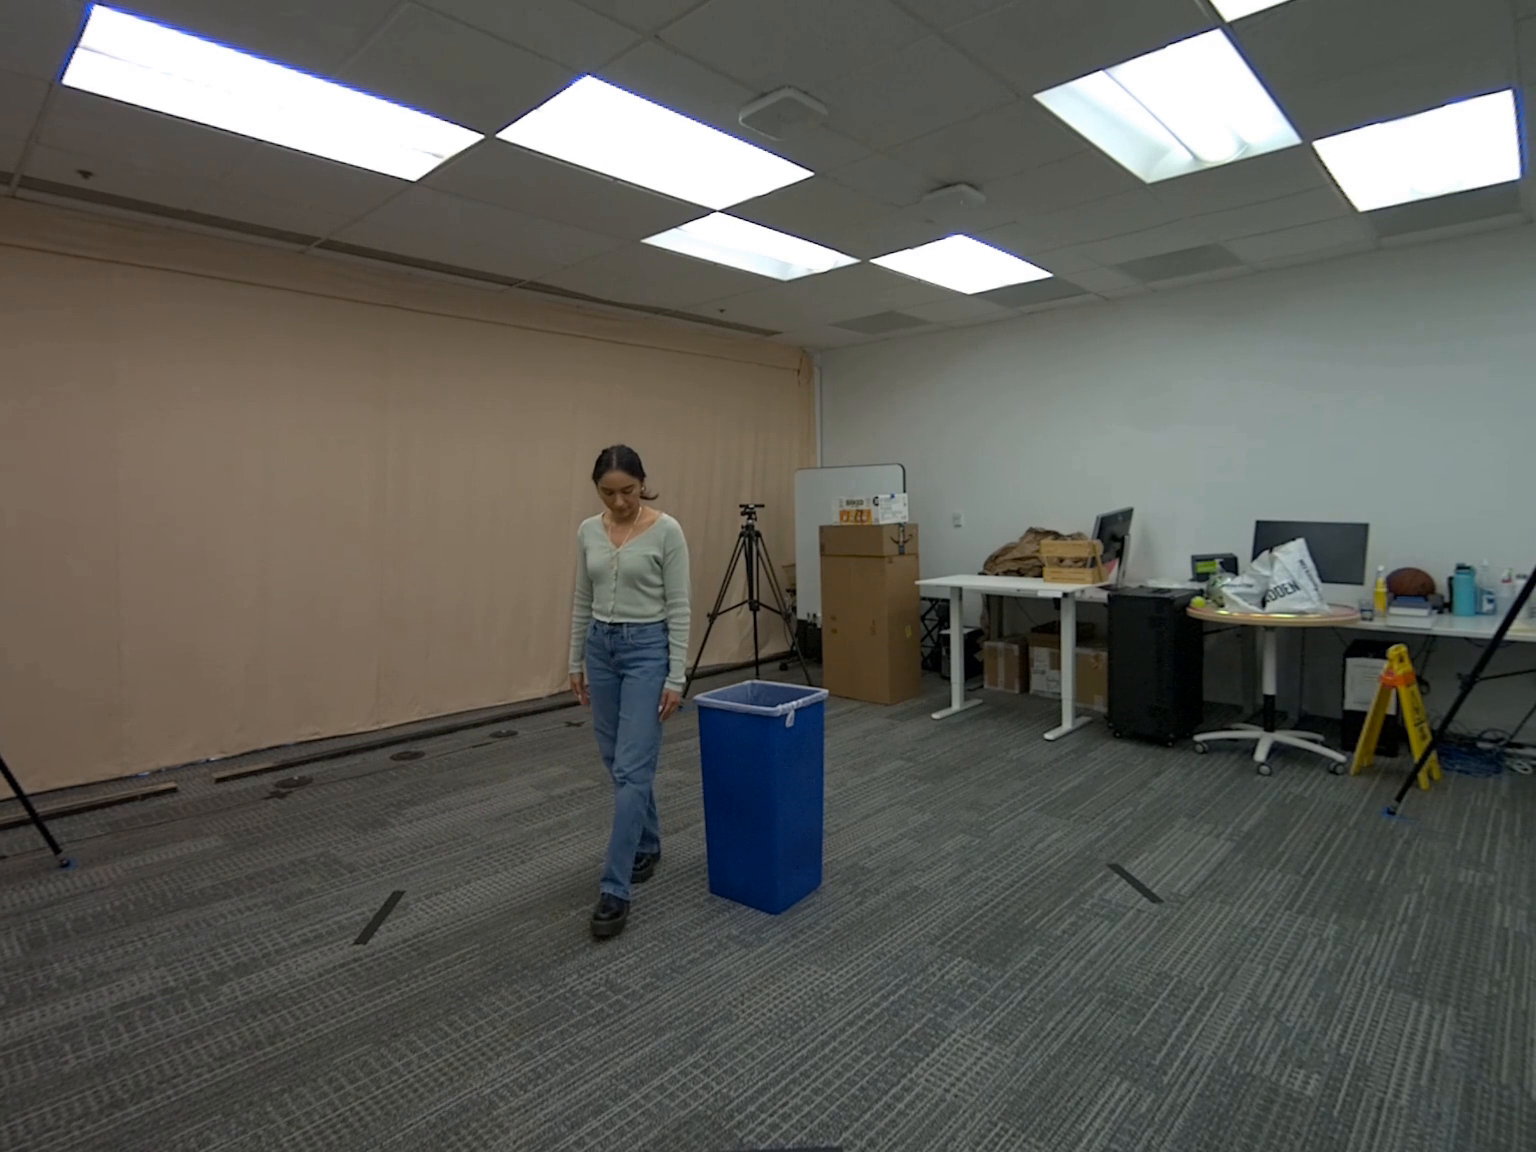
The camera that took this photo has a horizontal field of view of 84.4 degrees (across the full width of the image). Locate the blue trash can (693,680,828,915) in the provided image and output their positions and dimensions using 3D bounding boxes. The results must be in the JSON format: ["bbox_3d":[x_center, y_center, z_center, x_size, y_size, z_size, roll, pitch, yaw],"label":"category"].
[{"bbox_3d":[-0.019,0.775,3.034,0.386,0.712,0.367,2,4,38],"label":"blue trash can"}]
